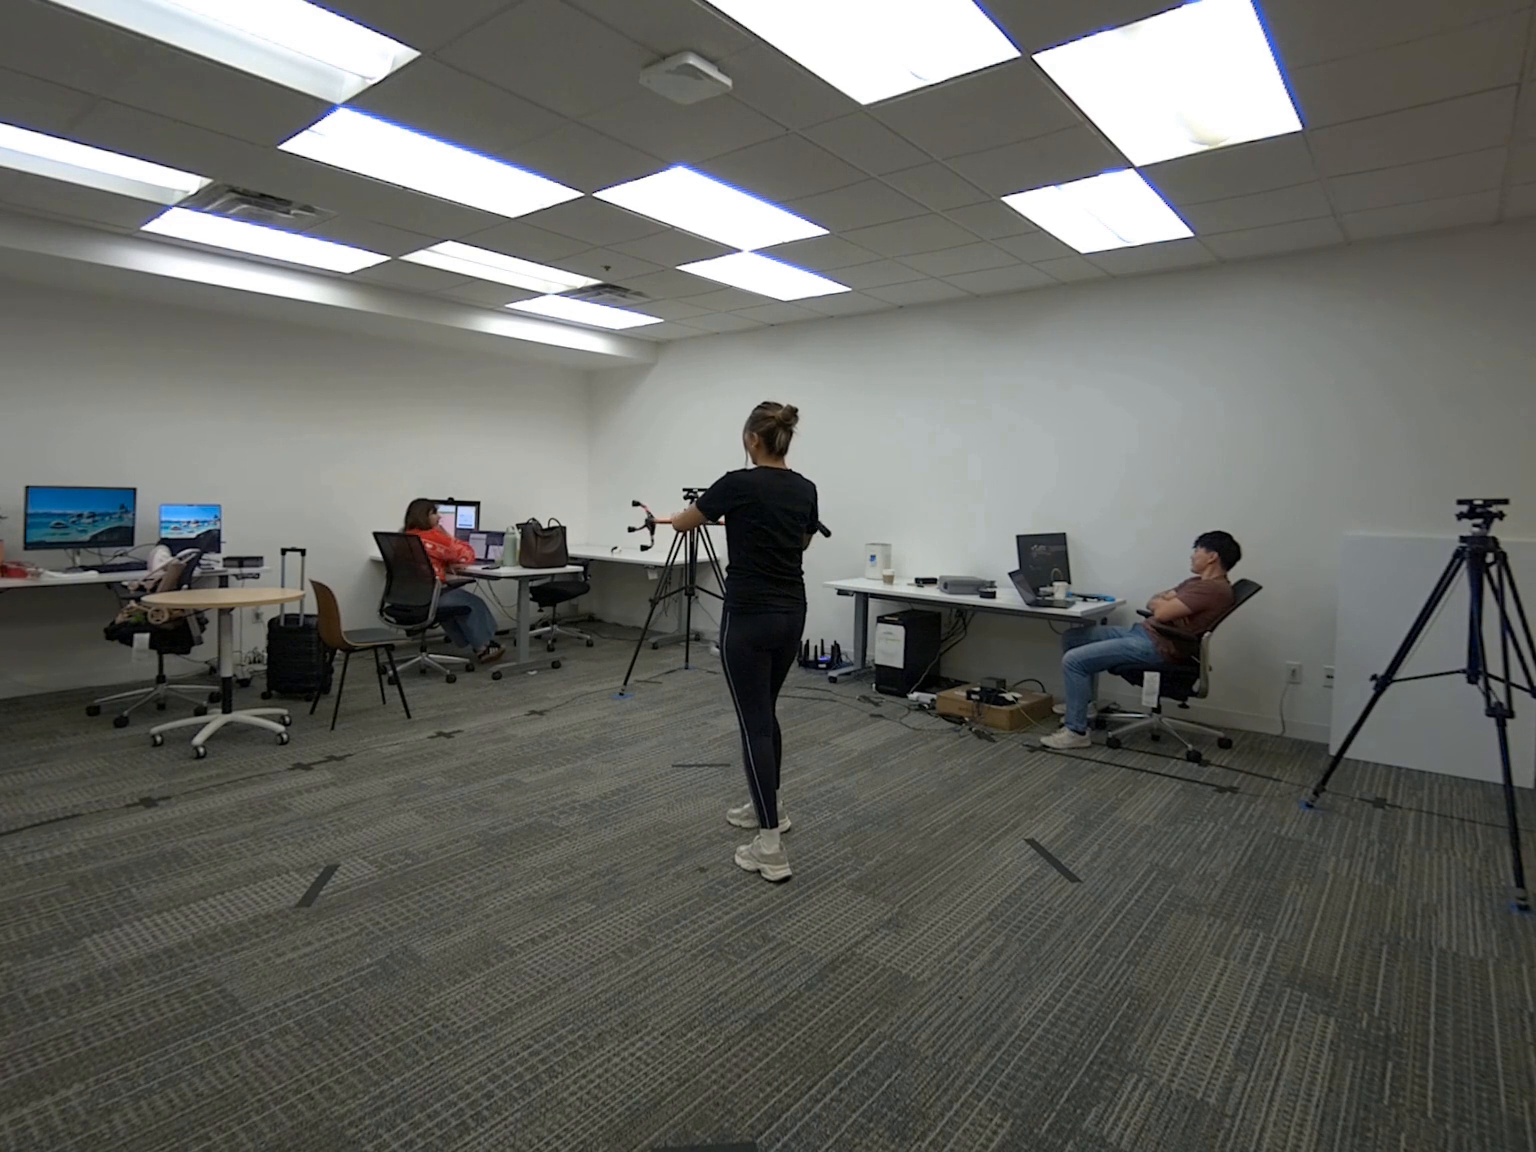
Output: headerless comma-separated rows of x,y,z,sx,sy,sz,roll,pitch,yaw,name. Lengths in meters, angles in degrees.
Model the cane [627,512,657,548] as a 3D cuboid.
-0.166,-0.216,3.773,0.887,0.149,0.215,-1,32,-24,cane
